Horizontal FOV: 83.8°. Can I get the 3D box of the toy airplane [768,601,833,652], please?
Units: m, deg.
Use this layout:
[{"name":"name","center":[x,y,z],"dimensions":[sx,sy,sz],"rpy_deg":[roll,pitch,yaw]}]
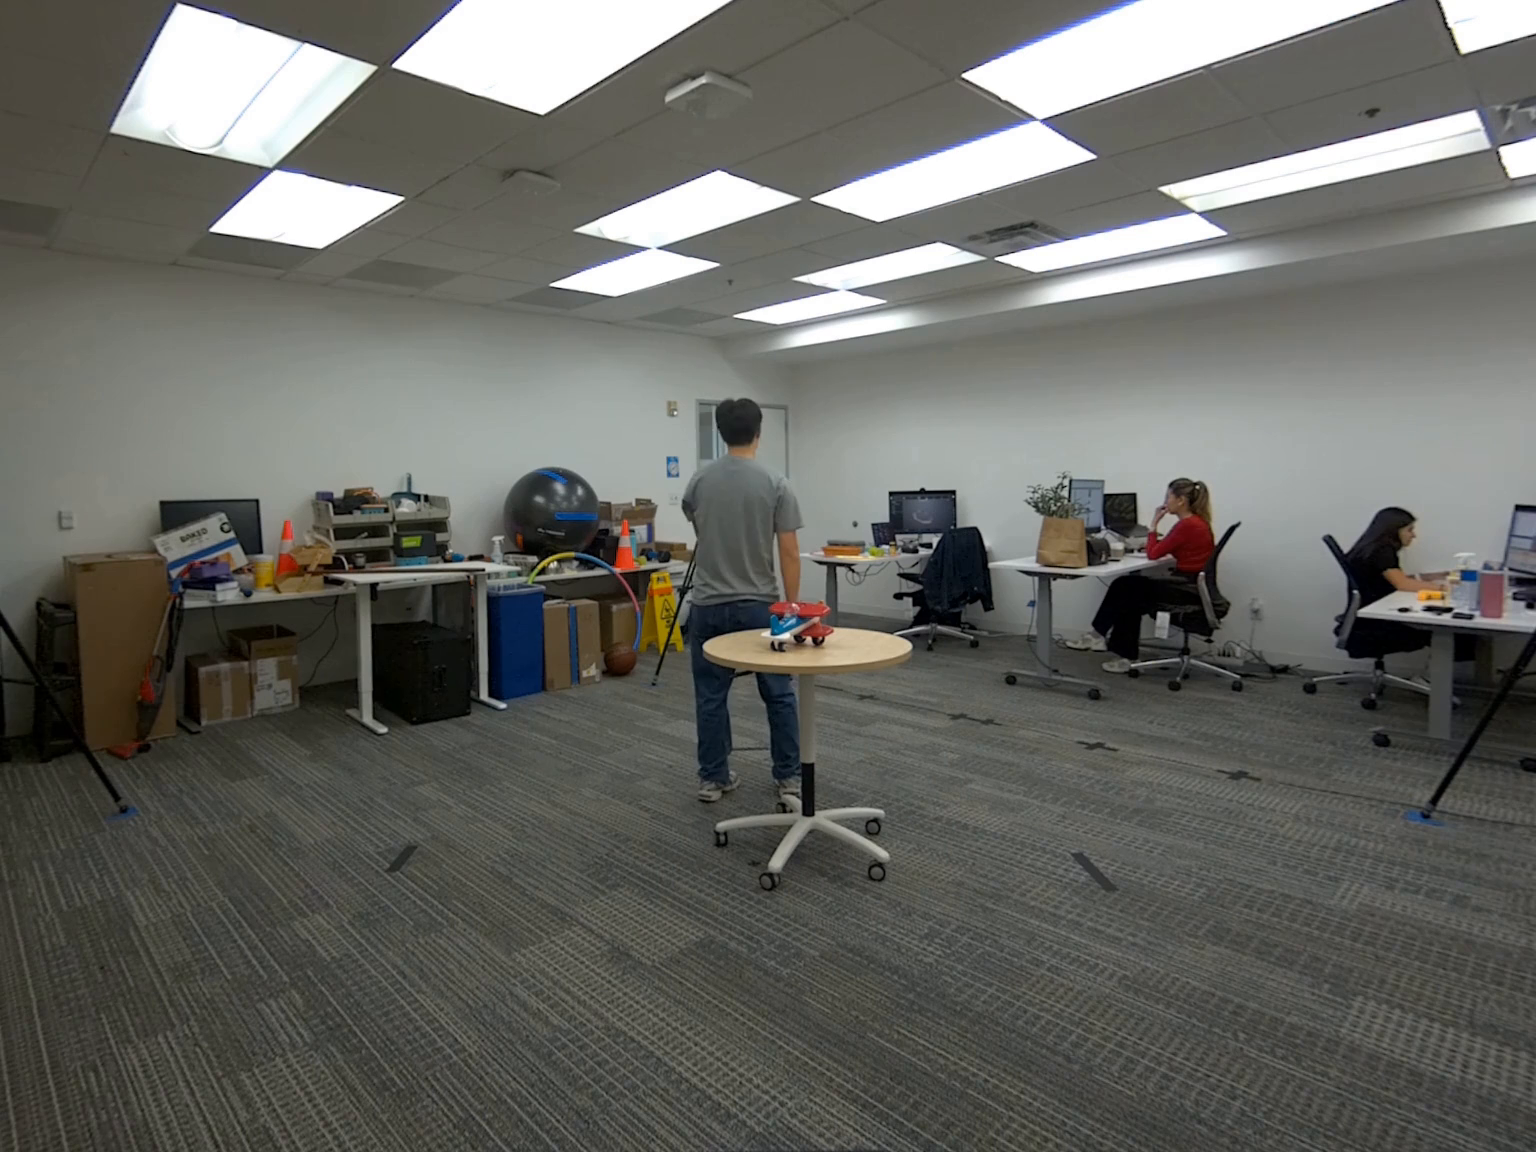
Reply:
[{"name":"toy airplane","center":[0.111,0.184,3.092],"dimensions":[0.254,0.156,0.256],"rpy_deg":[0,4,13]}]
